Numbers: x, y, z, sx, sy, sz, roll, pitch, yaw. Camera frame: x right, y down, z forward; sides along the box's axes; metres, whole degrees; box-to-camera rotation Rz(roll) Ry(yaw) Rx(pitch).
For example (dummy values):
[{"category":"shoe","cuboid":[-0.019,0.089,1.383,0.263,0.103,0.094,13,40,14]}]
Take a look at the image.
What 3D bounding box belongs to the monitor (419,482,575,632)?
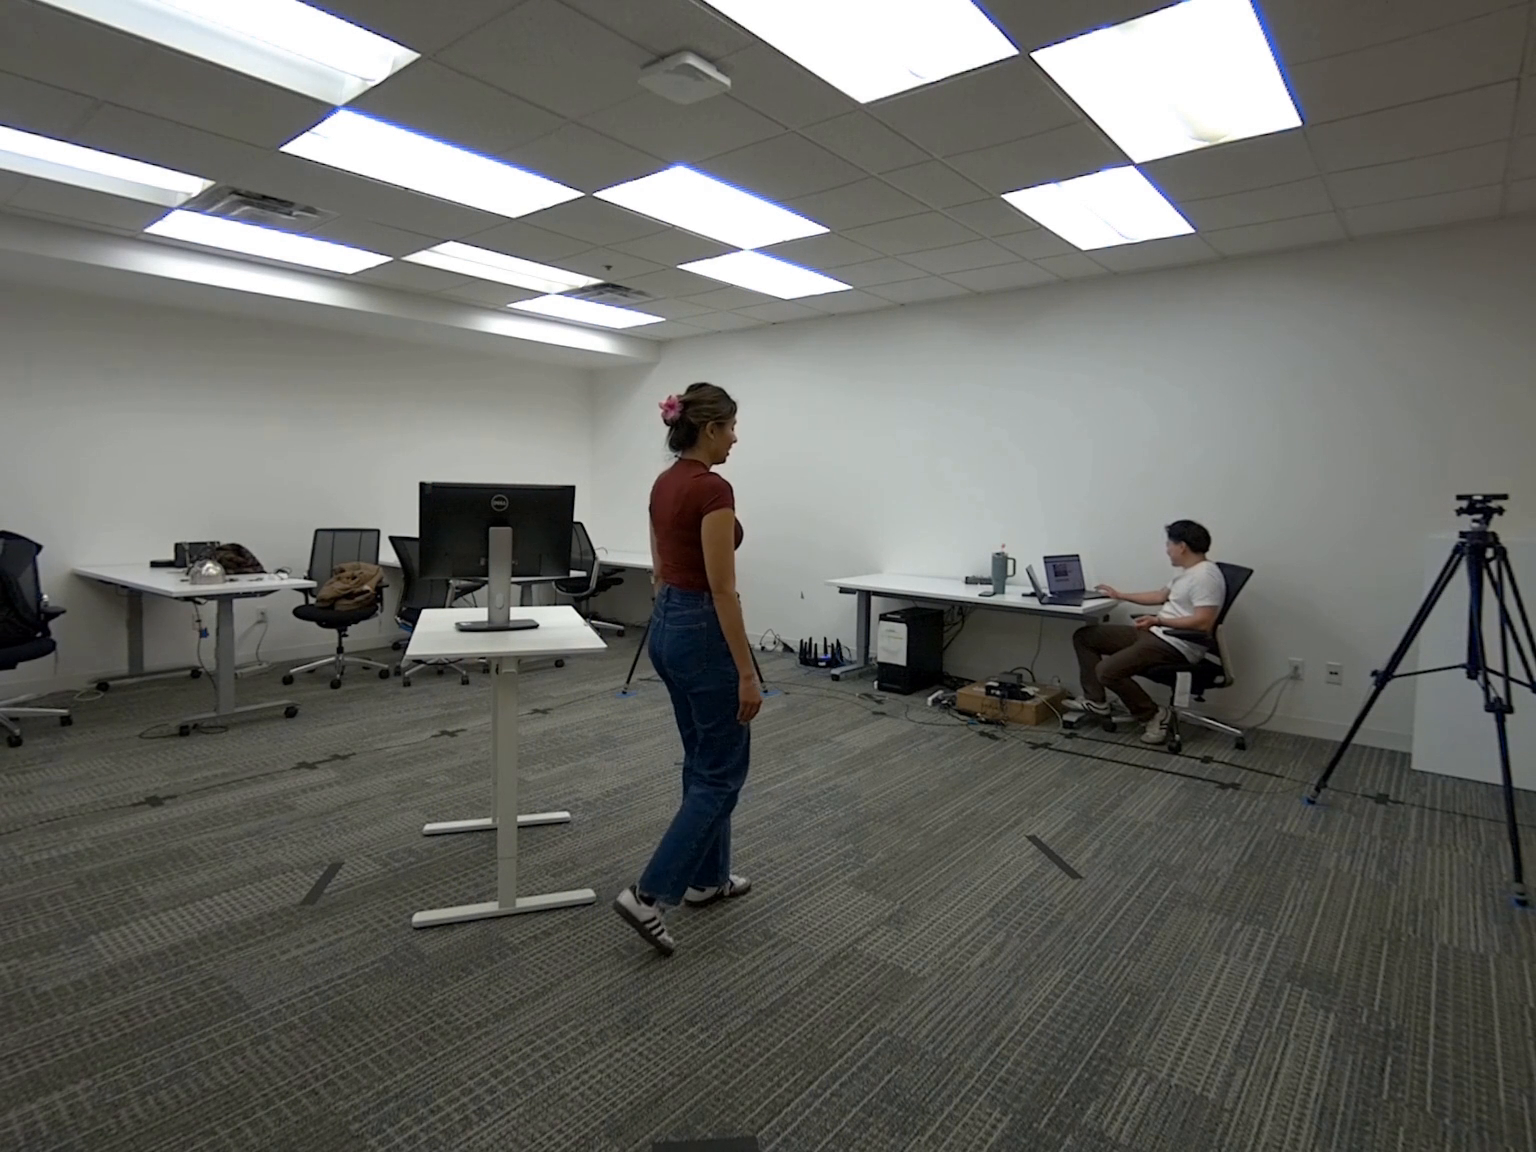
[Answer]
[{"category":"monitor","cuboid":[-0.969,-0.070,3.005,0.527,0.520,0.192,0,5,-22]}]
